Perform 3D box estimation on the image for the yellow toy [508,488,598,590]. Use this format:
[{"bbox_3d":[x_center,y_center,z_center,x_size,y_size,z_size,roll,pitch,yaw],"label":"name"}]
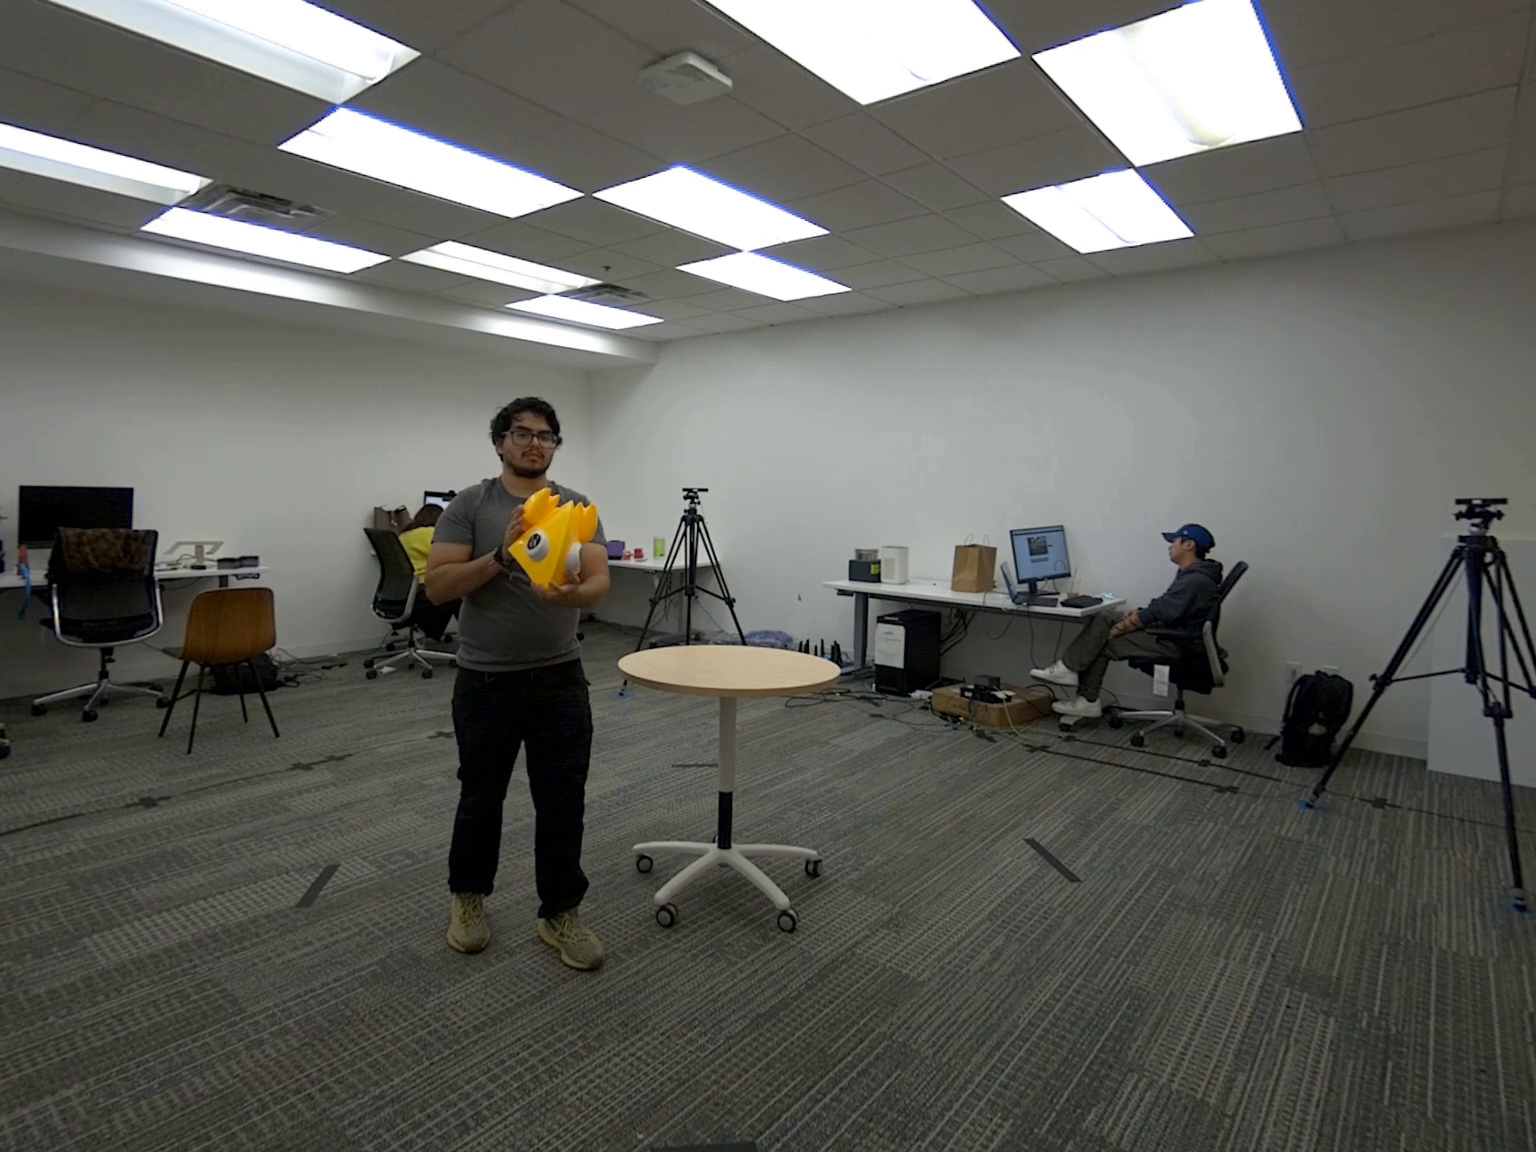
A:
[{"bbox_3d":[-0.558,-0.074,2.232,0.199,0.192,0.238,20,39,-26],"label":"yellow toy"}]
